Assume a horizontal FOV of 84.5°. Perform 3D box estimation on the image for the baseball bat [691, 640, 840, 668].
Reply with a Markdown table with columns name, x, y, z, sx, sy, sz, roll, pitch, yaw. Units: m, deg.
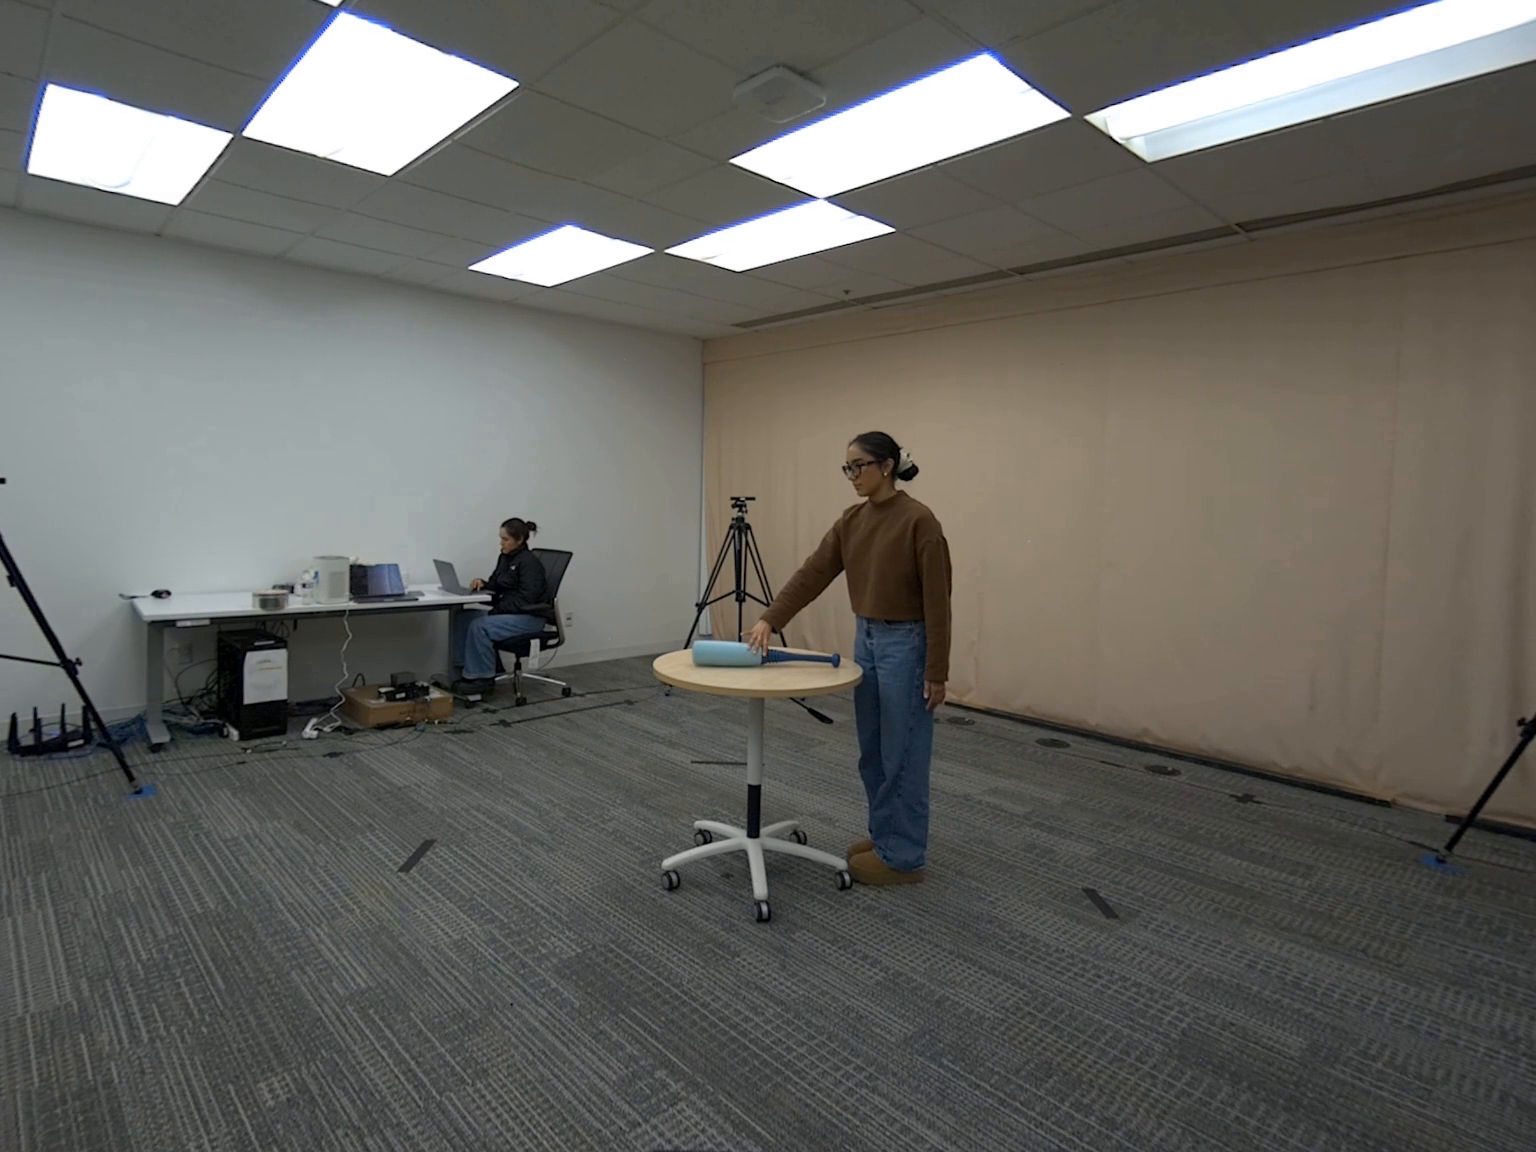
| name | x | y | z | sx | sy | sz | roll | pitch | yaw |
| --- | --- | --- | --- | --- | --- | --- | --- | --- | --- |
| baseball bat | -0.005 | 0.295 | 3.061 | 0.541 | 0.089 | 0.089 | 4 | 4 | -4 |
